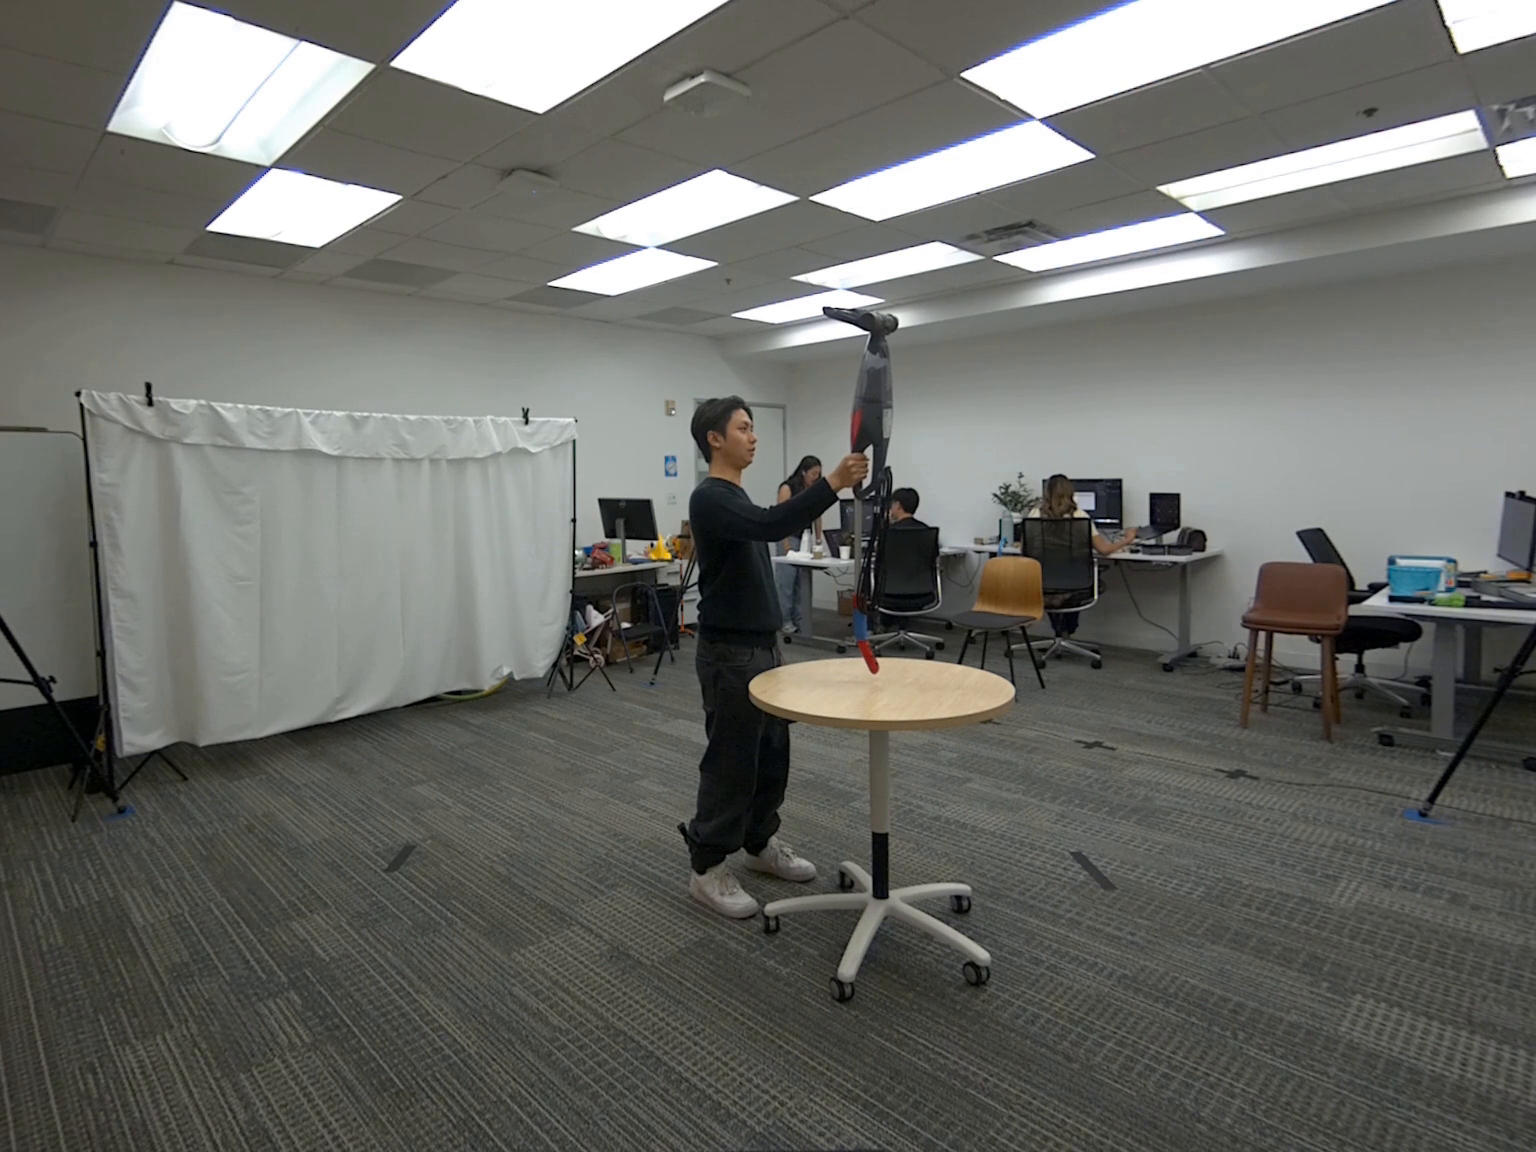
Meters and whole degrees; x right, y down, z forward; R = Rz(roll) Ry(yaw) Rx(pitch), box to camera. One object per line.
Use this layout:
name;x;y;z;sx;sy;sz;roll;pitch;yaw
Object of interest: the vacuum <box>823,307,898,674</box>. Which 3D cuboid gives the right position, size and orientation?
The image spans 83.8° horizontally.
vacuum;0.308;-0.229;2.468;0.148;1.041;0.247;4;10;41
